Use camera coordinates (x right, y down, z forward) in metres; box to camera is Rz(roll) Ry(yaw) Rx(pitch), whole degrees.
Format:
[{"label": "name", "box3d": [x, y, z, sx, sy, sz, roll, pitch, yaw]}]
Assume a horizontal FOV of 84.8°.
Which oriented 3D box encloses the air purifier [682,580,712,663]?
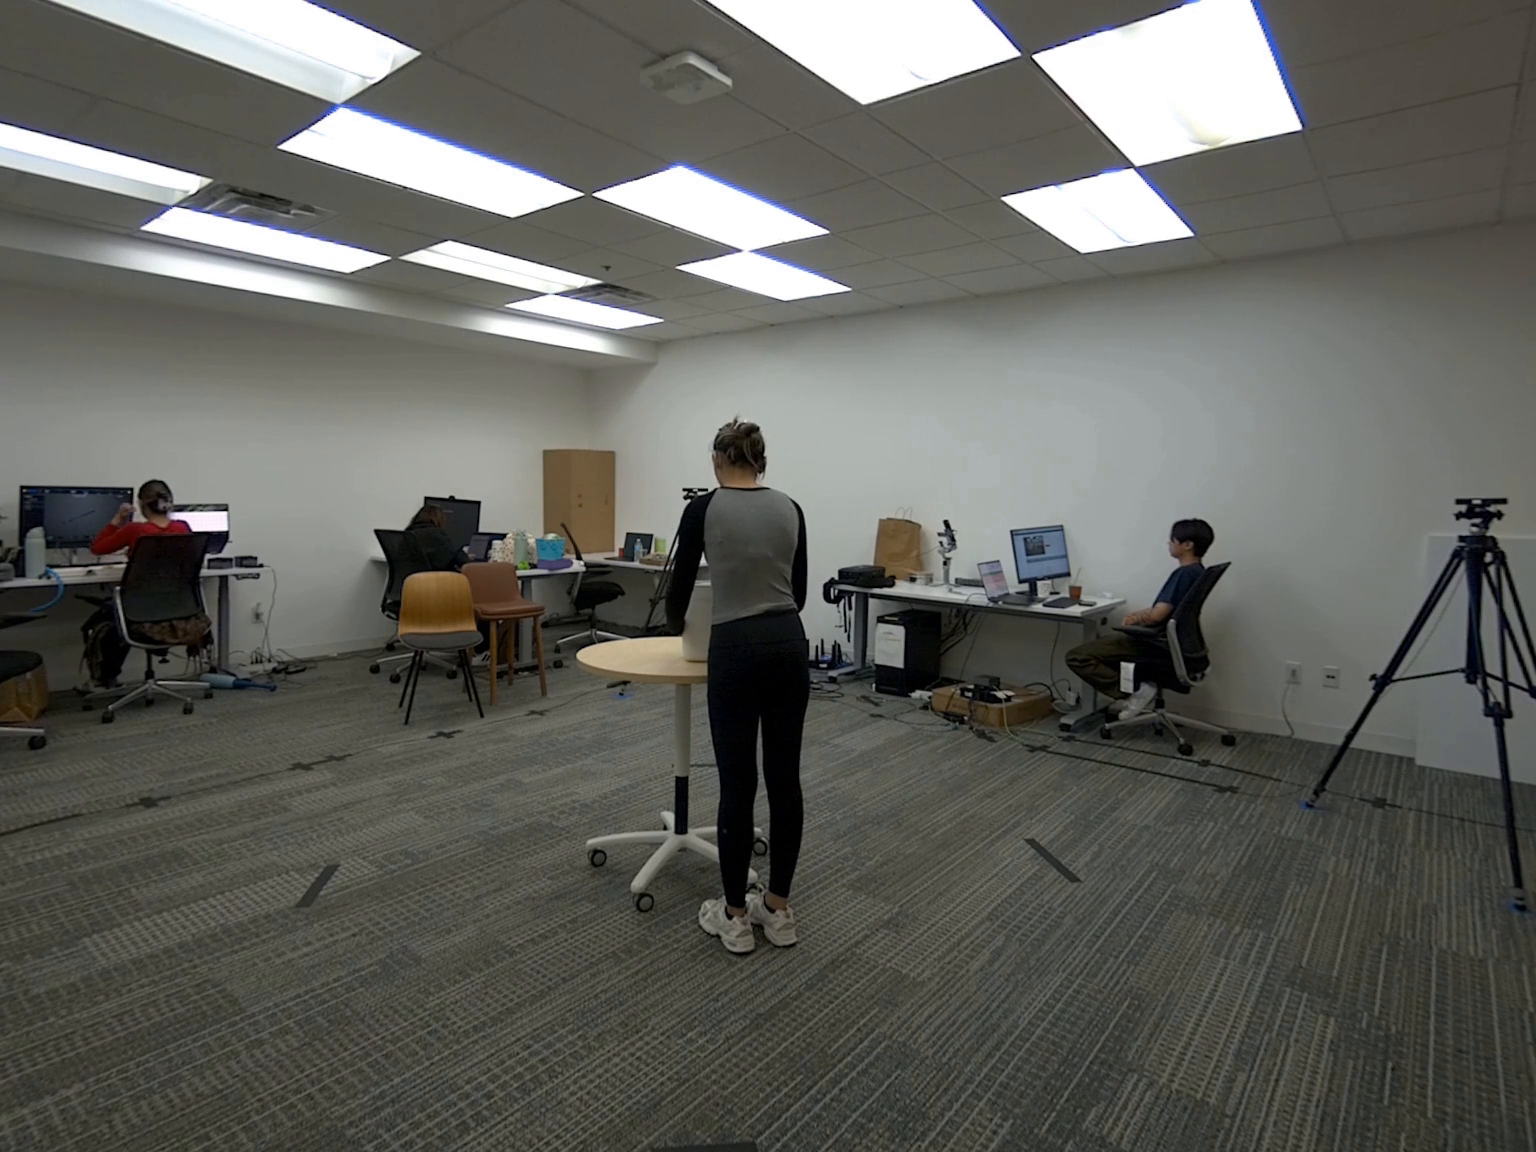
[{"label": "air purifier", "box3d": [-0.219, 0.156, 2.976, 0.170, 0.264, 0.173, 2, 4, -5]}]
